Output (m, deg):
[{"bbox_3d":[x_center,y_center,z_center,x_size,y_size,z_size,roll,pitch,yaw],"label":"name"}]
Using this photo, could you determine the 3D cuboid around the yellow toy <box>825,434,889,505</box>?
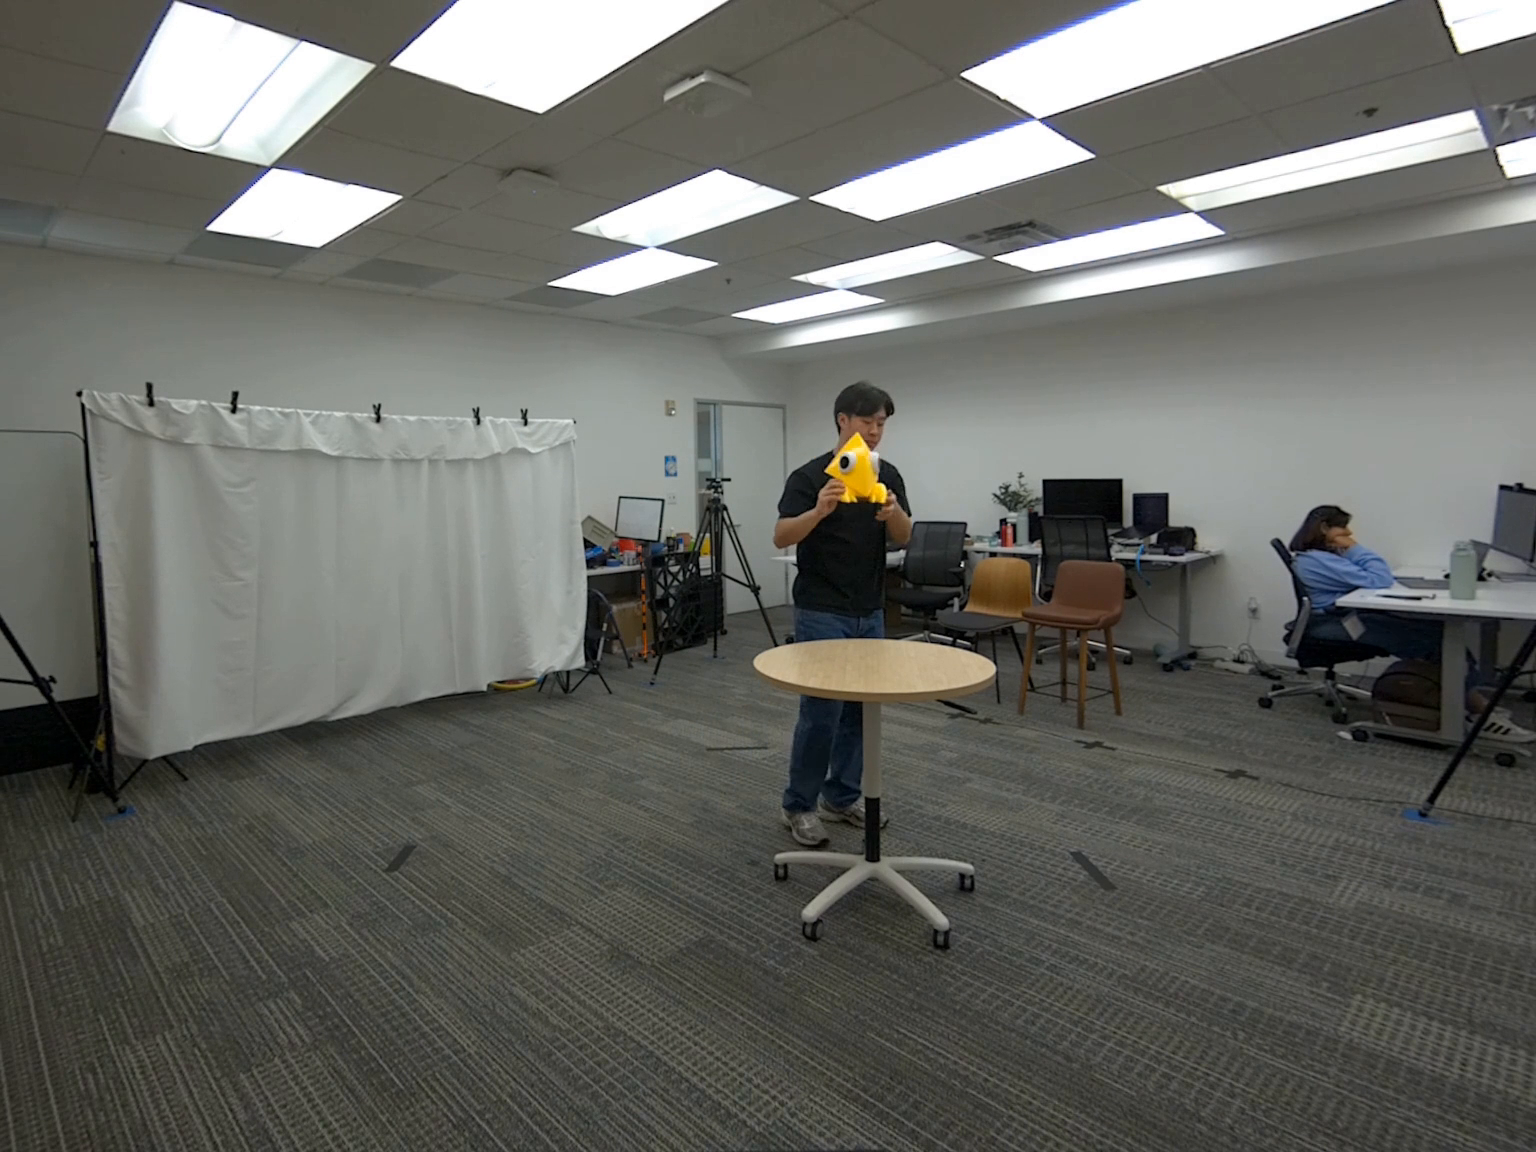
[{"bbox_3d":[0.328,-0.383,3.054,0.202,0.228,0.197,1,13,-13],"label":"yellow toy"}]
